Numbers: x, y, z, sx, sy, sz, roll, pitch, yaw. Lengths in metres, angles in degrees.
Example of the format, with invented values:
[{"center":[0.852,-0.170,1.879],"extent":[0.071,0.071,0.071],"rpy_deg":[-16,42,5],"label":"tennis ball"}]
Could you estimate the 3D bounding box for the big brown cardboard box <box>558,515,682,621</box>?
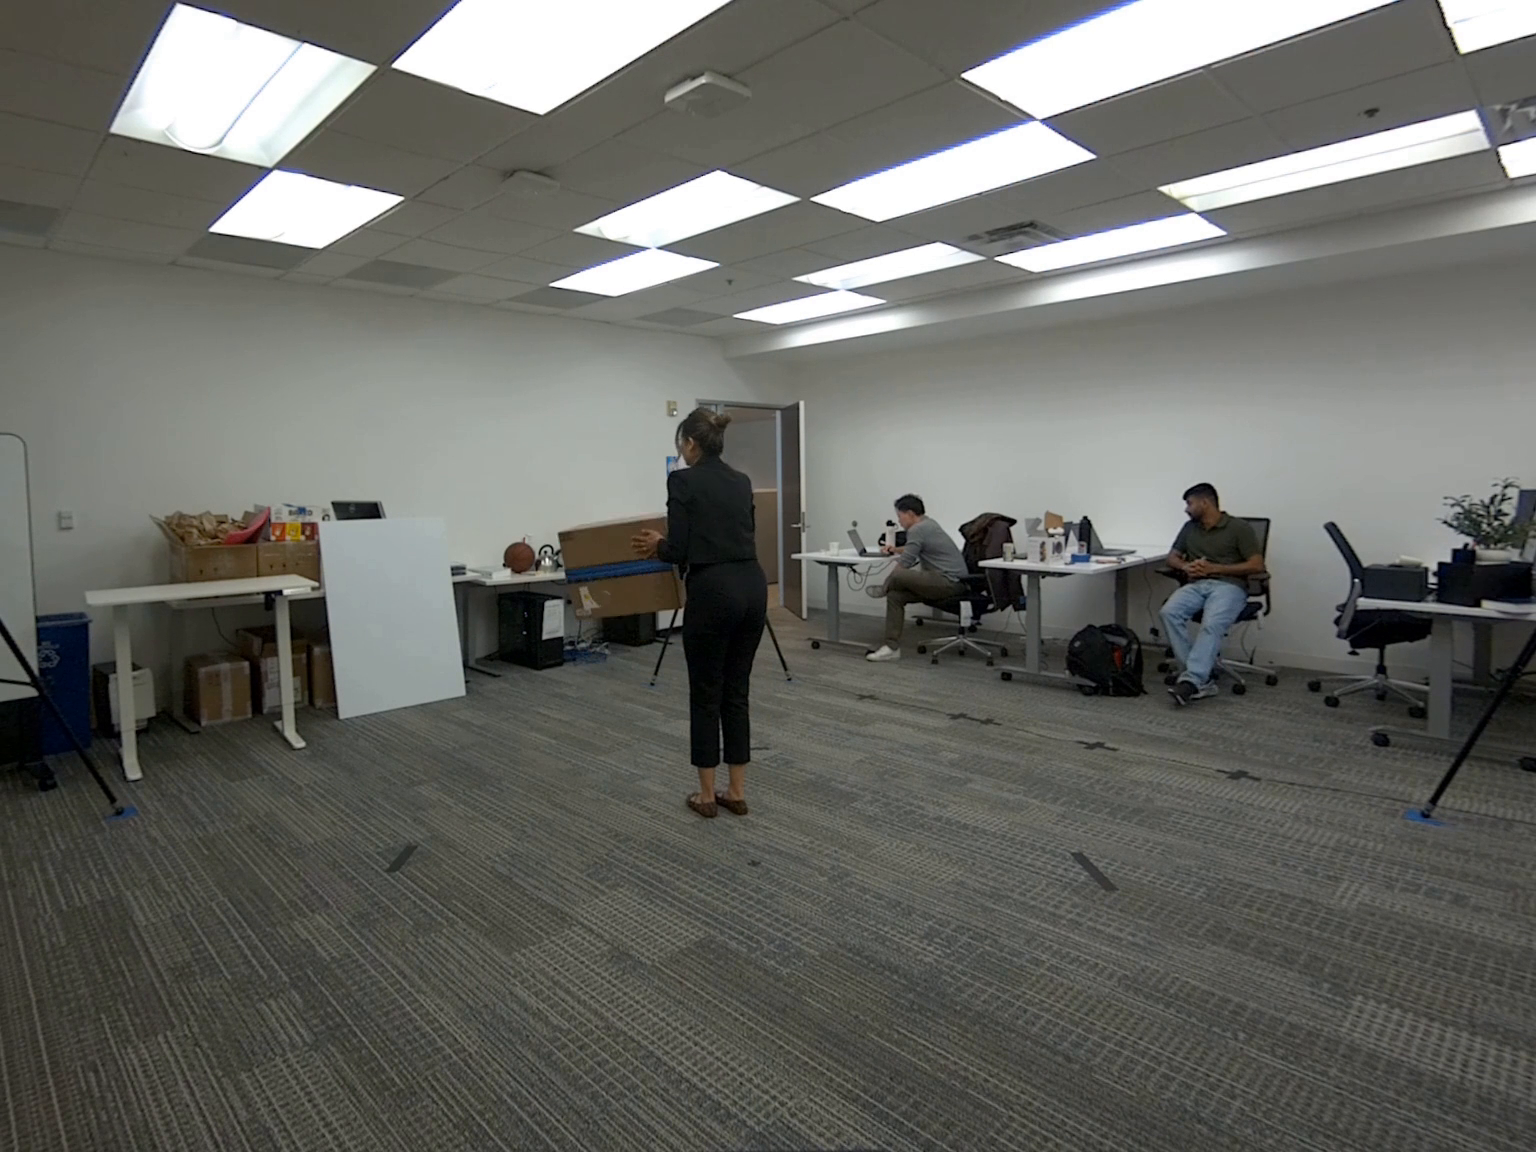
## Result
[{"center":[-0.634,-0.044,3.913],"extent":[0.600,0.413,0.231],"rpy_deg":[-7,11,24],"label":"big brown cardboard box"}]
